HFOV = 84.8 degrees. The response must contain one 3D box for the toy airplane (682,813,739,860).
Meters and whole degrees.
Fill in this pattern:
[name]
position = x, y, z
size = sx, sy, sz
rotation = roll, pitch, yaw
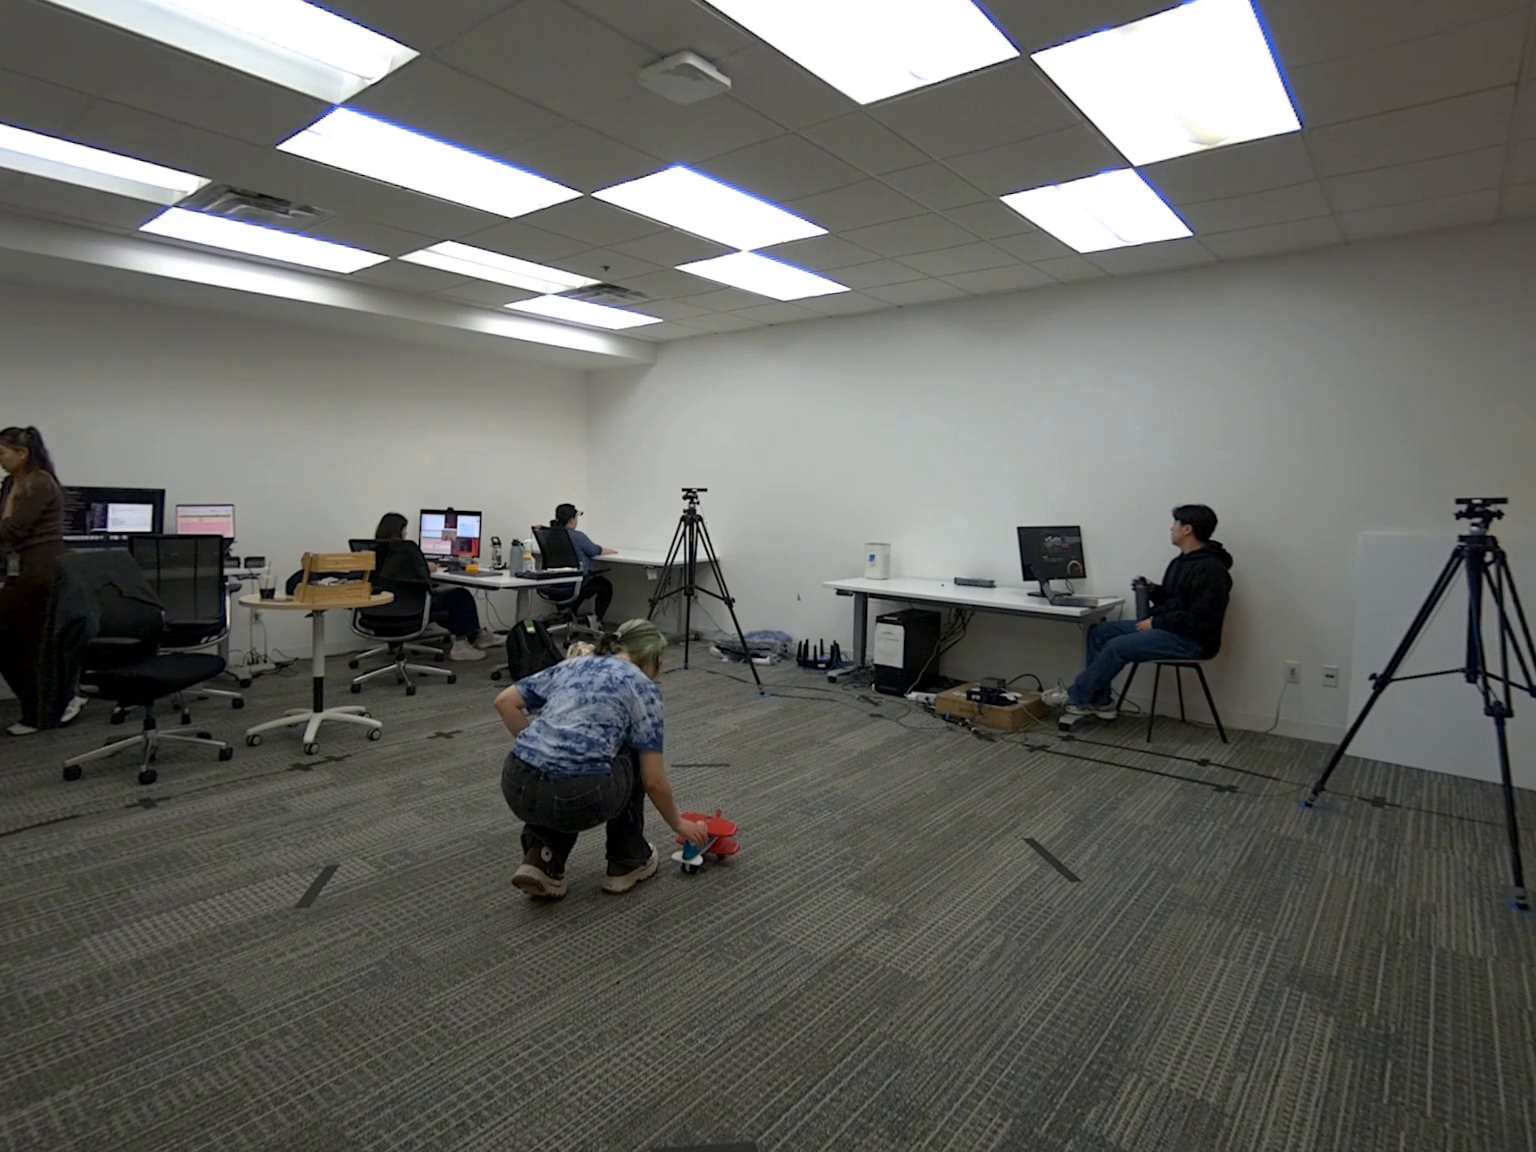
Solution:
[toy airplane]
position = -0.236, 0.993, 3.147
size = 0.250, 0.156, 0.261
rotation = 0, 4, -3
